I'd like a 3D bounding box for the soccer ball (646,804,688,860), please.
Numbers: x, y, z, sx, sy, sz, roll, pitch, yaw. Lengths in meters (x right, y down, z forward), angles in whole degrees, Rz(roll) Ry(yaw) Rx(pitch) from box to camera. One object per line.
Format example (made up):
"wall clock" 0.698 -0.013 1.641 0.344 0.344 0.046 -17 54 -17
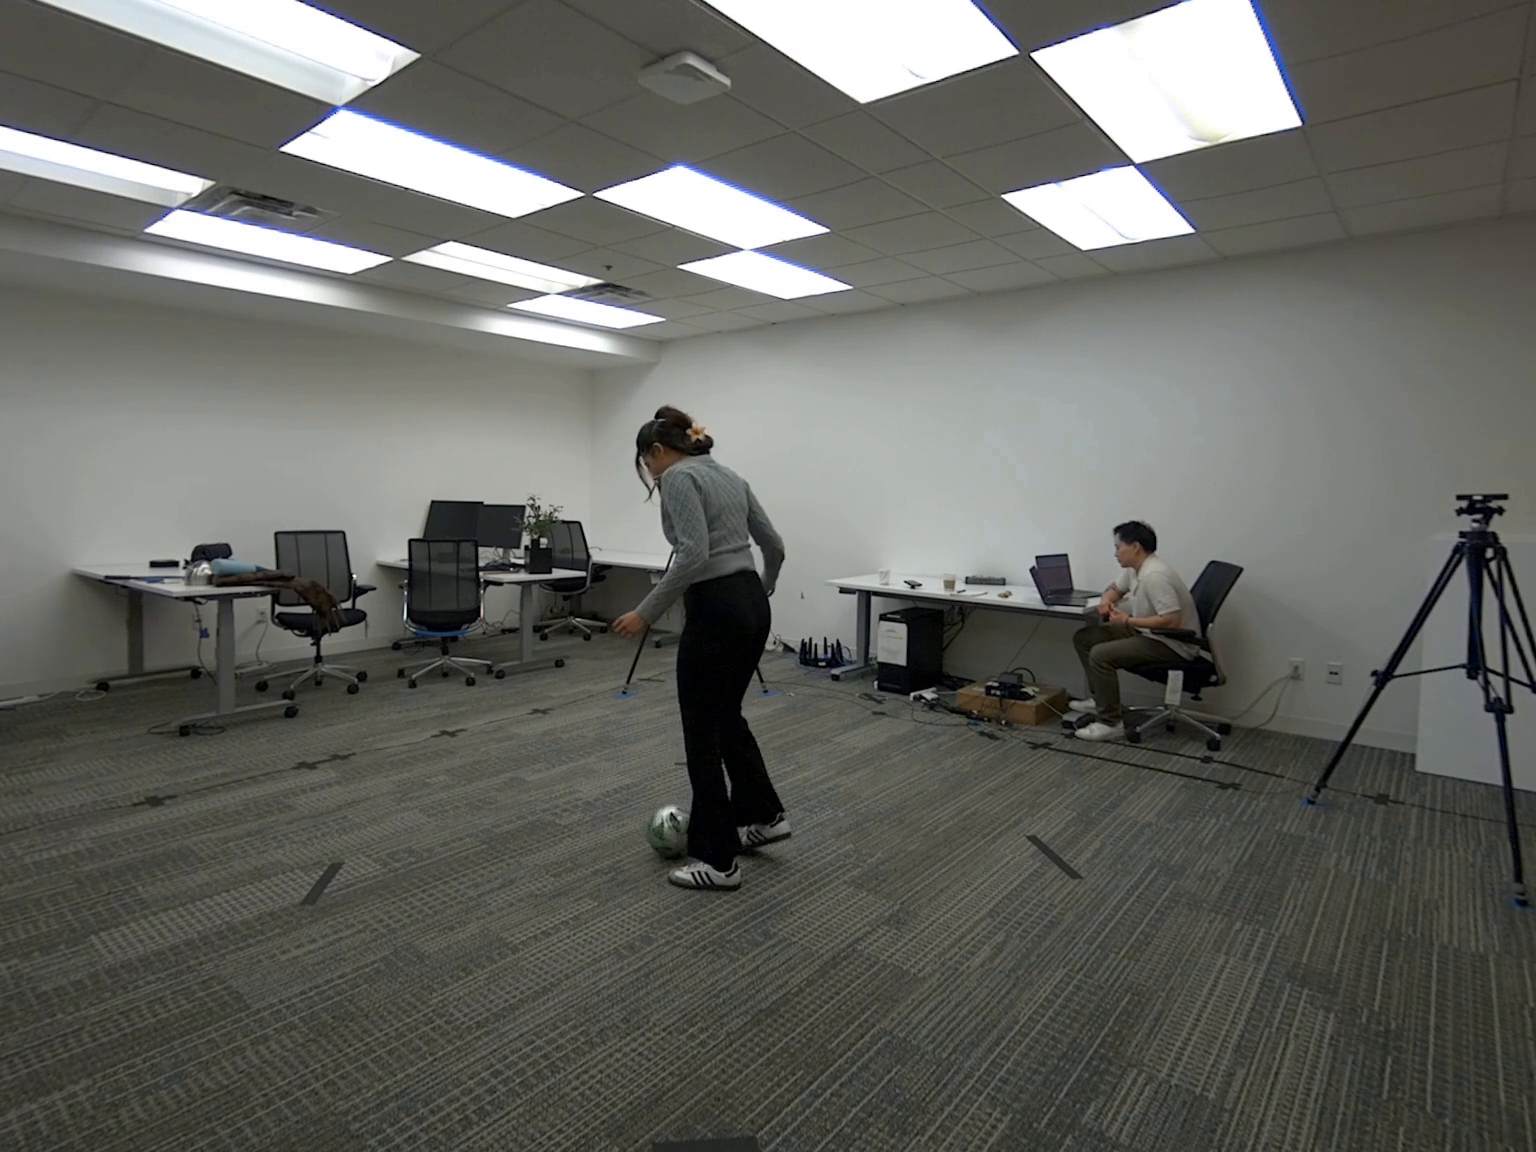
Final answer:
"soccer ball" -0.381 0.937 3.201 0.187 0.187 0.188 1 4 -2
